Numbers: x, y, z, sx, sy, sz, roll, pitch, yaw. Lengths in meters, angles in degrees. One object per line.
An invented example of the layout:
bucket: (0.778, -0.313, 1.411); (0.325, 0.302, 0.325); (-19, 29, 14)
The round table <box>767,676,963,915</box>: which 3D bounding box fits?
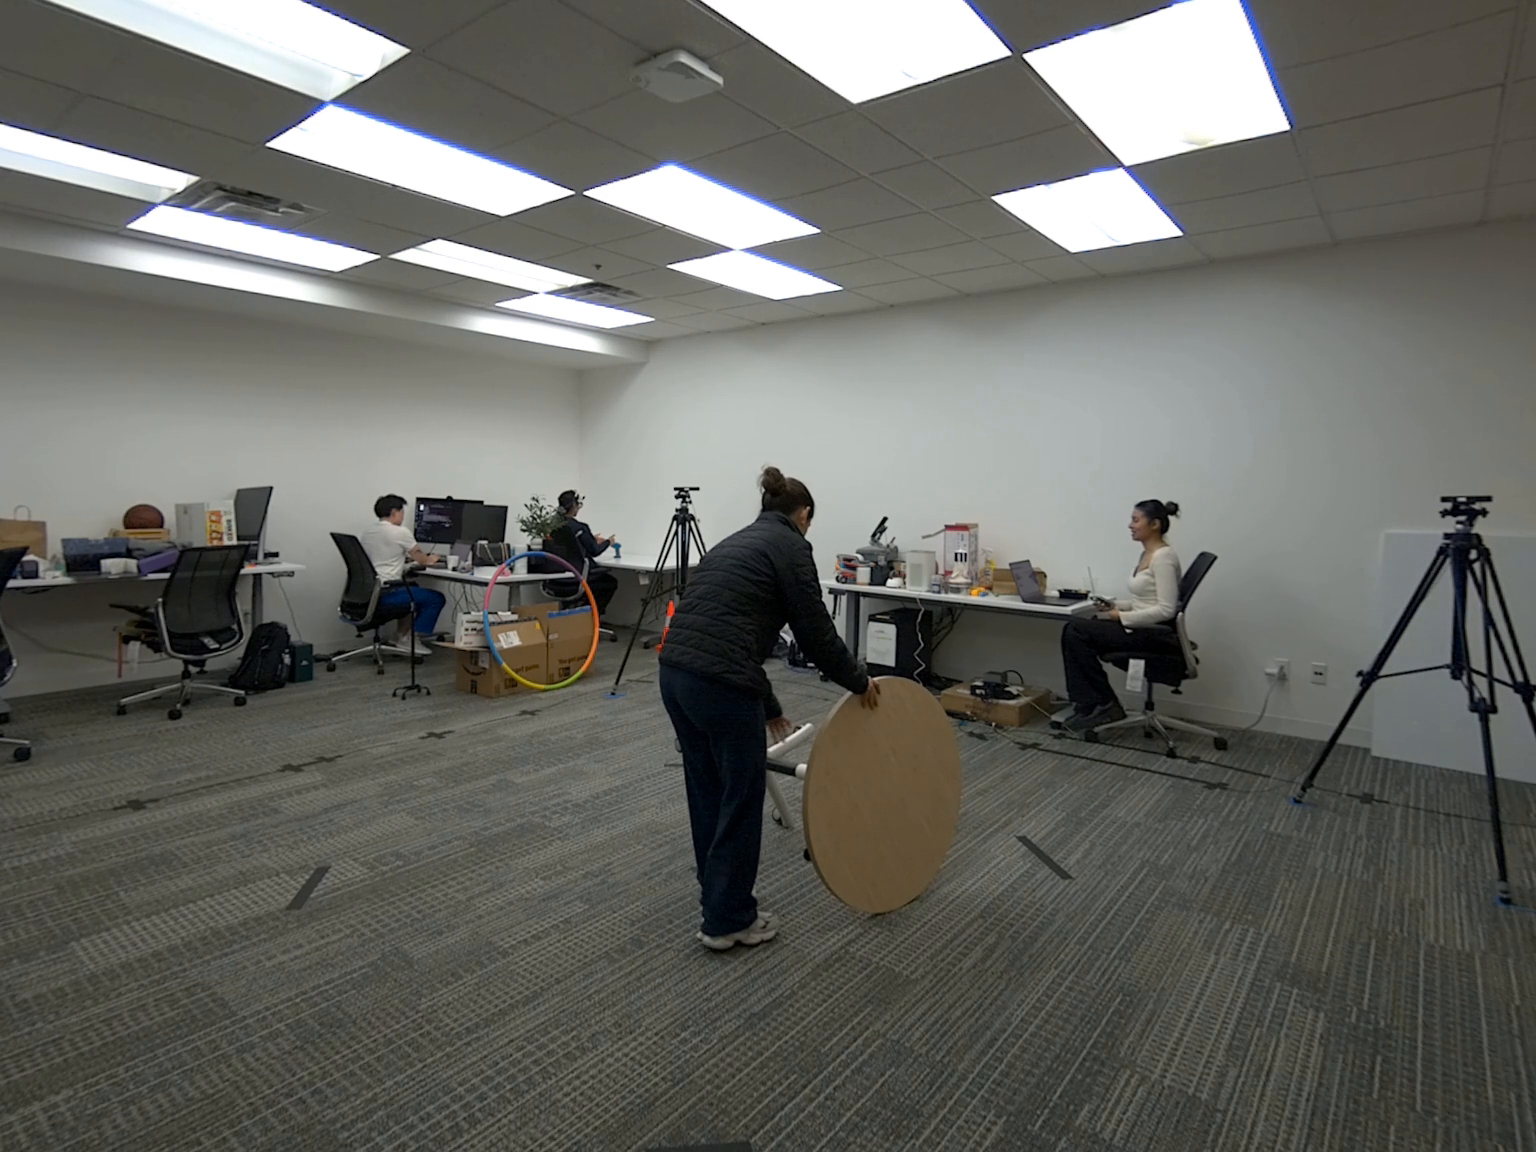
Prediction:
round table: (0.165, 0.731, 3.166); (0.762, 0.787, 0.808); (-3, -2, -39)
